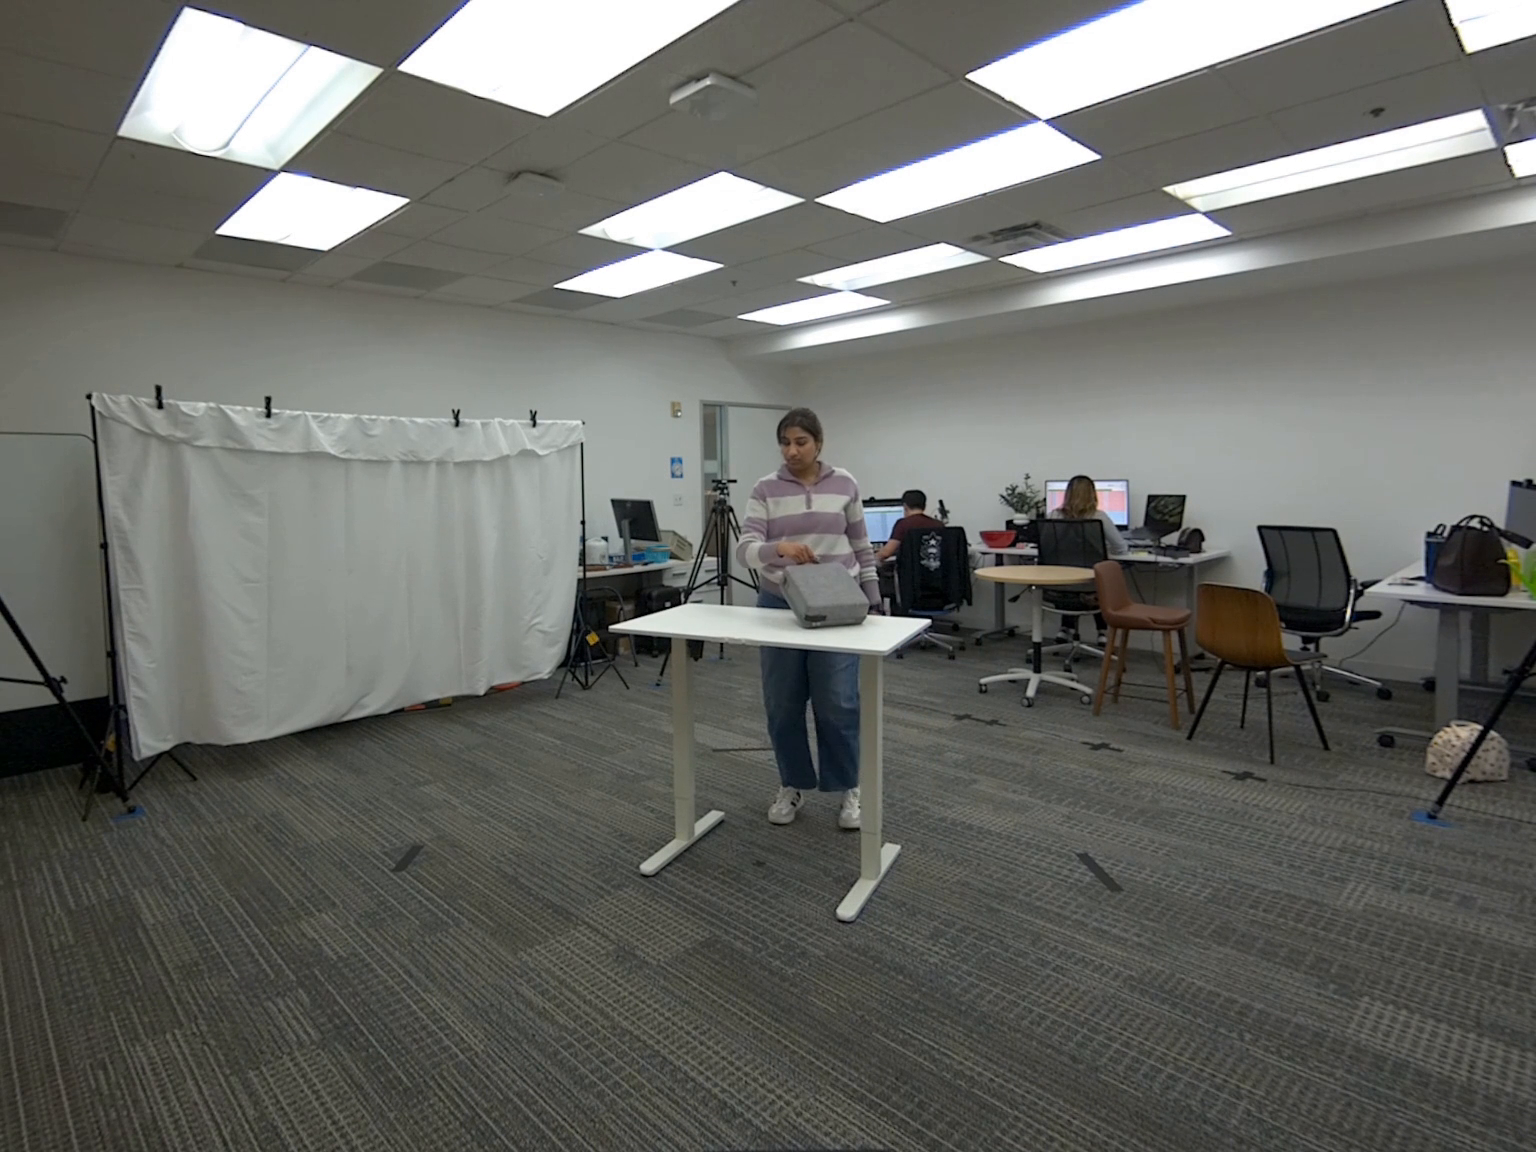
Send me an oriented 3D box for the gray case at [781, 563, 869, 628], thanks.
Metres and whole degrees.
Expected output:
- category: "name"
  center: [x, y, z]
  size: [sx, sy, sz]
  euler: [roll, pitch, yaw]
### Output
- category: "gray case"
  center: [0.197, 0.067, 3.032]
  size: [0.252, 0.102, 0.270]
  euler: [-4, 37, -22]
